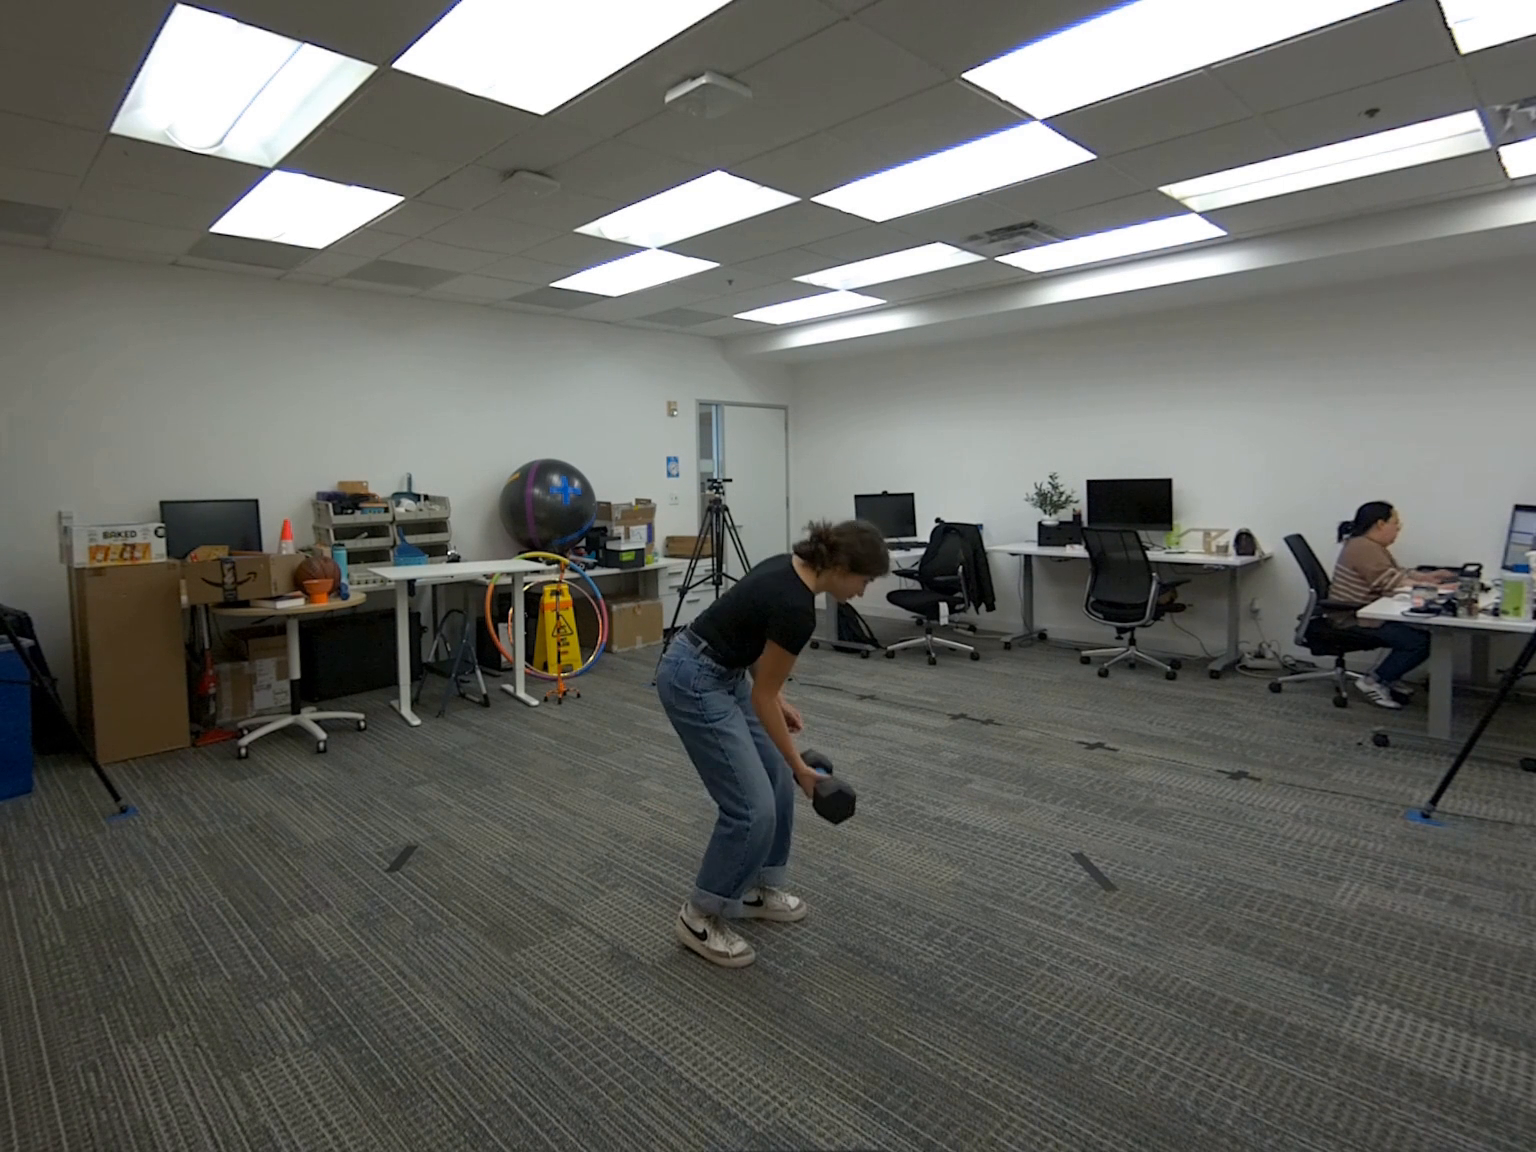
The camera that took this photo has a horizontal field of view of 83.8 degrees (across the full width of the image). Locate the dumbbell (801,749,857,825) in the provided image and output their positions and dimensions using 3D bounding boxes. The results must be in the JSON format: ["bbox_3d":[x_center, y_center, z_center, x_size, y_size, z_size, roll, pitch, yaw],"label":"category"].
[{"bbox_3d":[0.162,0.612,2.489,0.121,0.109,0.299,33,-1,-15],"label":"dumbbell"}]
